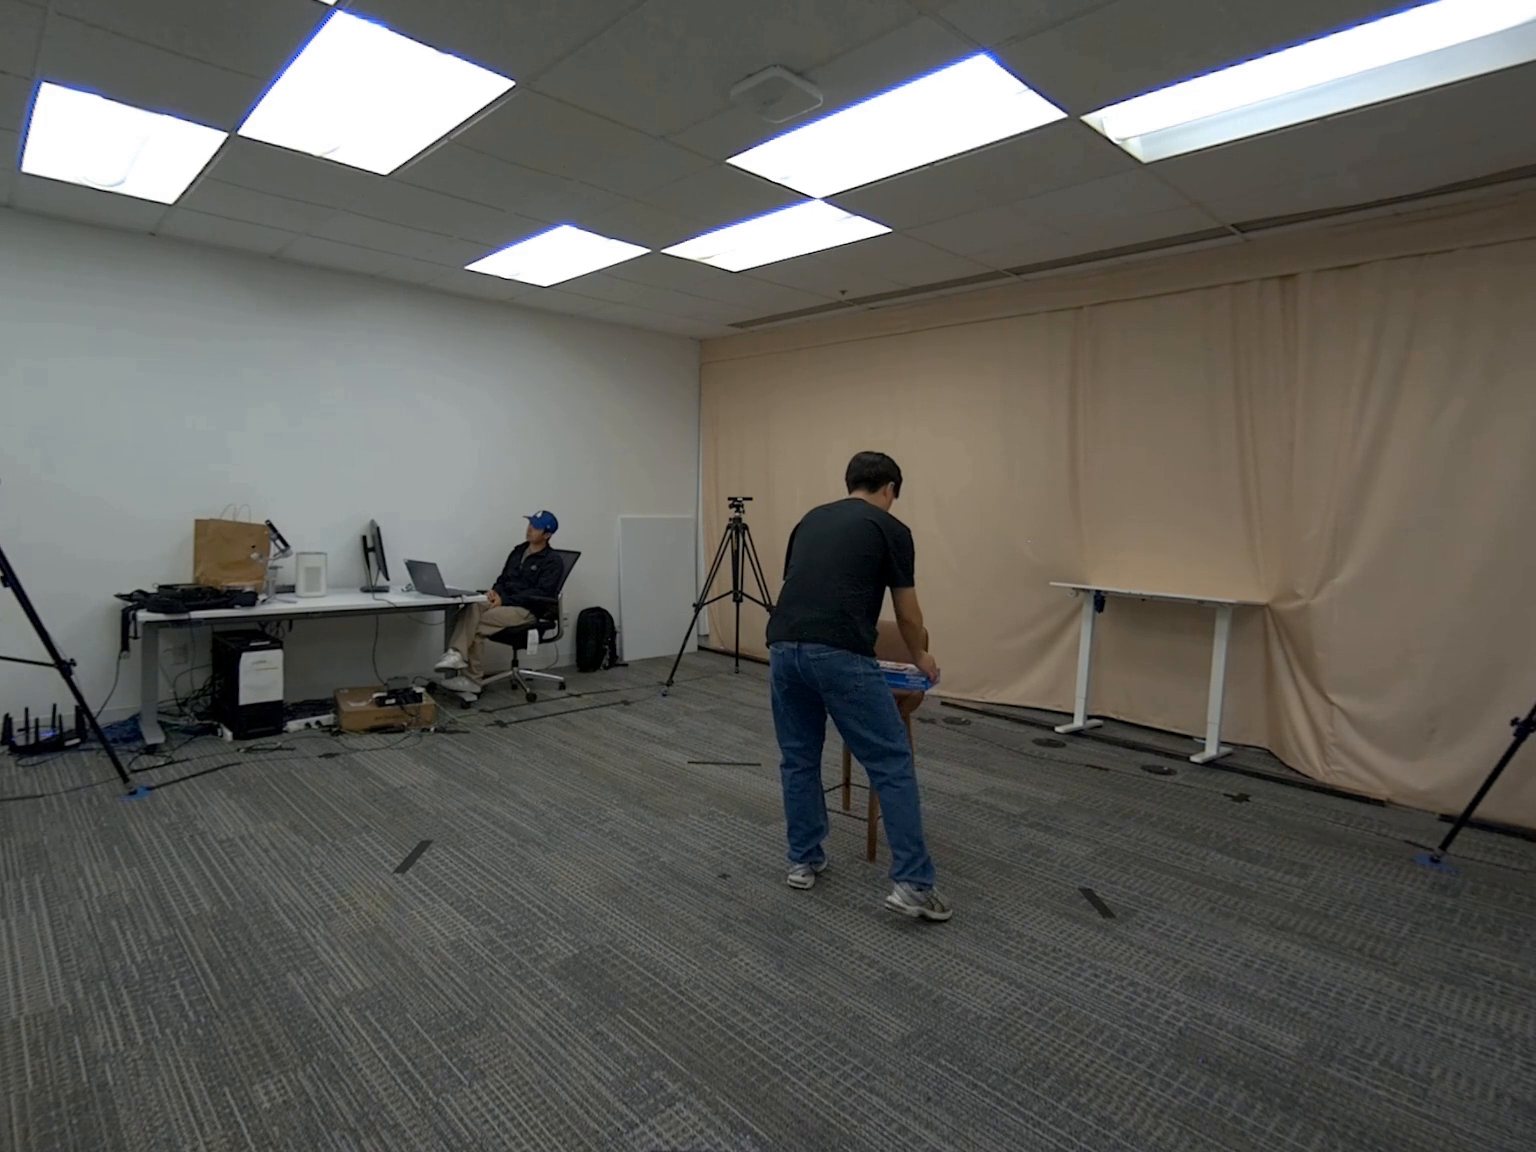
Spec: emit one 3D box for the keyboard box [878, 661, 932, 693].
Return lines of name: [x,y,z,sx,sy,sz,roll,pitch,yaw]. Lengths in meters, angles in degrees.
keyboard box: [0.449,0.395,3.396,0.446,0.059,0.173,5,9,30]
